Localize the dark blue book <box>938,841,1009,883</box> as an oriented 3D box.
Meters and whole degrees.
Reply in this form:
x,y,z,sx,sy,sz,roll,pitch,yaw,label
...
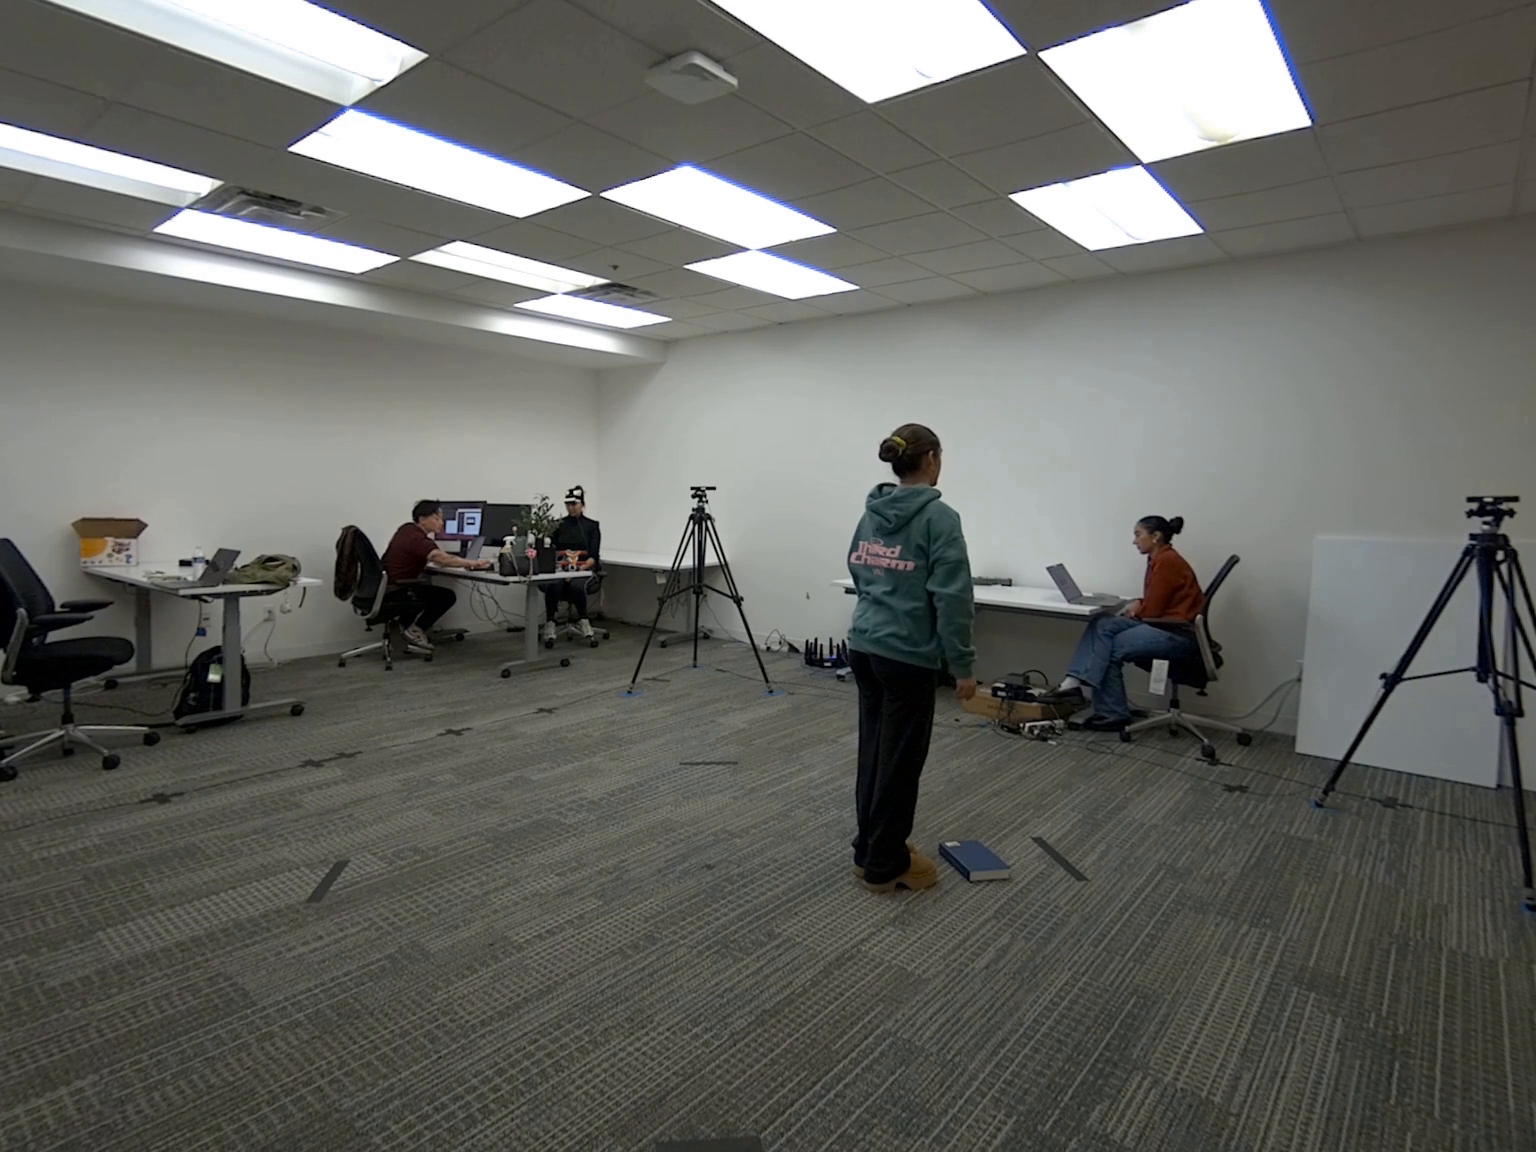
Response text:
x,y,z,sx,sy,sz,roll,pitch,yaw,label
0.758,1.059,3.174,0.161,0.045,0.250,-1,7,-14,dark blue book
